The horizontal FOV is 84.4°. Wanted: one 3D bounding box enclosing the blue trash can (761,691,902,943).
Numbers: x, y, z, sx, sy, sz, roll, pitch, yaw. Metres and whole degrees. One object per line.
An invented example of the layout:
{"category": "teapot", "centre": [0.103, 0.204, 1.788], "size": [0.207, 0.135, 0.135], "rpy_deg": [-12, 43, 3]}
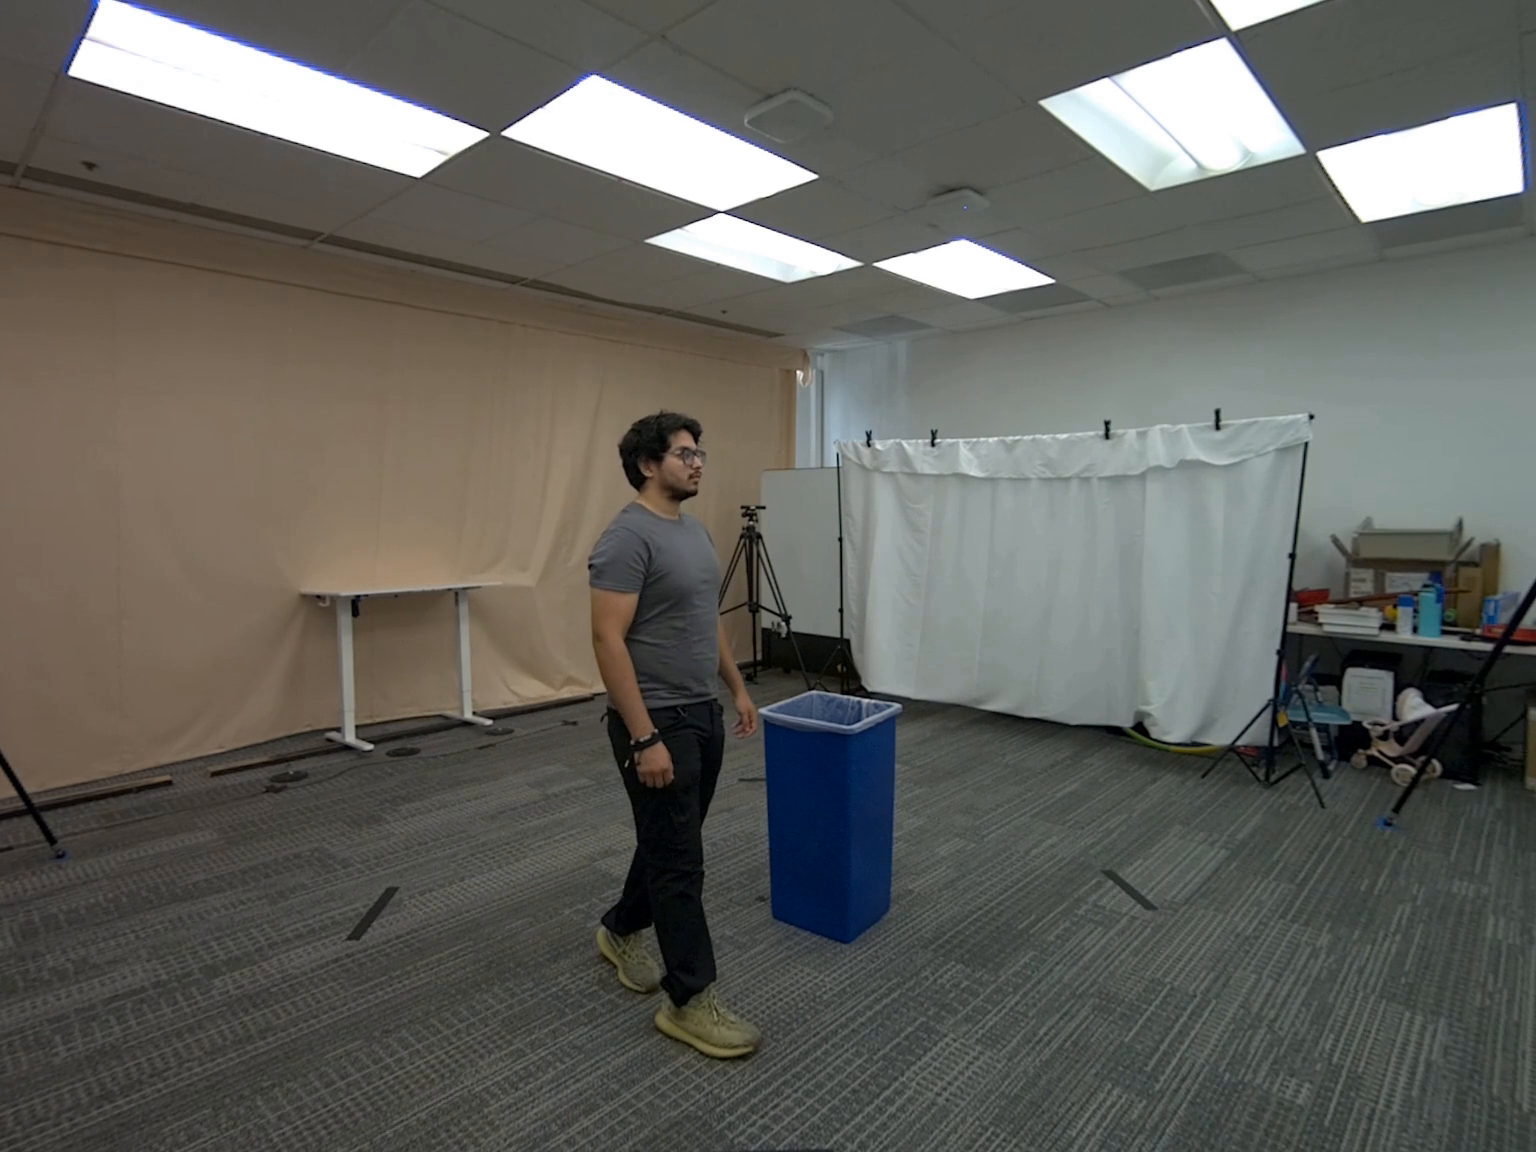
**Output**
{"category": "blue trash can", "centre": [0.216, 0.797, 2.846], "size": [0.390, 0.712, 0.363], "rpy_deg": [2, 4, 37]}
